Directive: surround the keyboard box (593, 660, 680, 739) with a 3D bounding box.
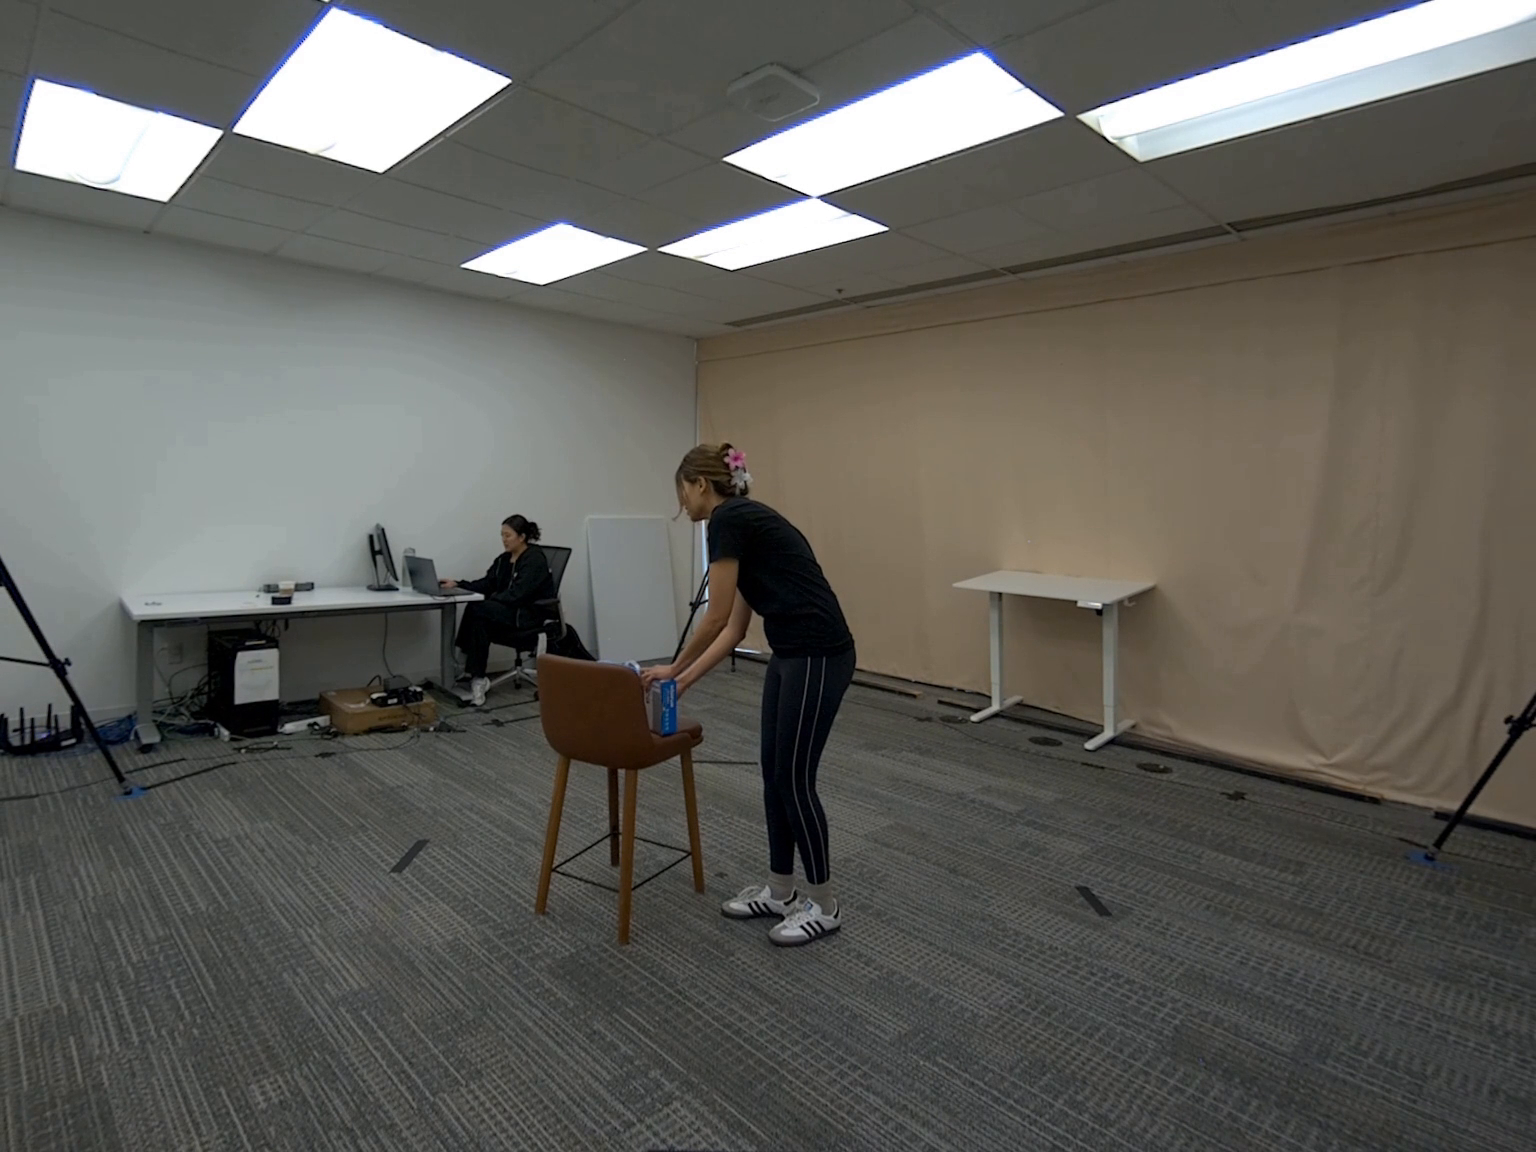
[{"bbox_3d":[-0.461,0.414,2.905,0.058,0.175,0.448,-5,8,-41],"label":"keyboard box"}]
